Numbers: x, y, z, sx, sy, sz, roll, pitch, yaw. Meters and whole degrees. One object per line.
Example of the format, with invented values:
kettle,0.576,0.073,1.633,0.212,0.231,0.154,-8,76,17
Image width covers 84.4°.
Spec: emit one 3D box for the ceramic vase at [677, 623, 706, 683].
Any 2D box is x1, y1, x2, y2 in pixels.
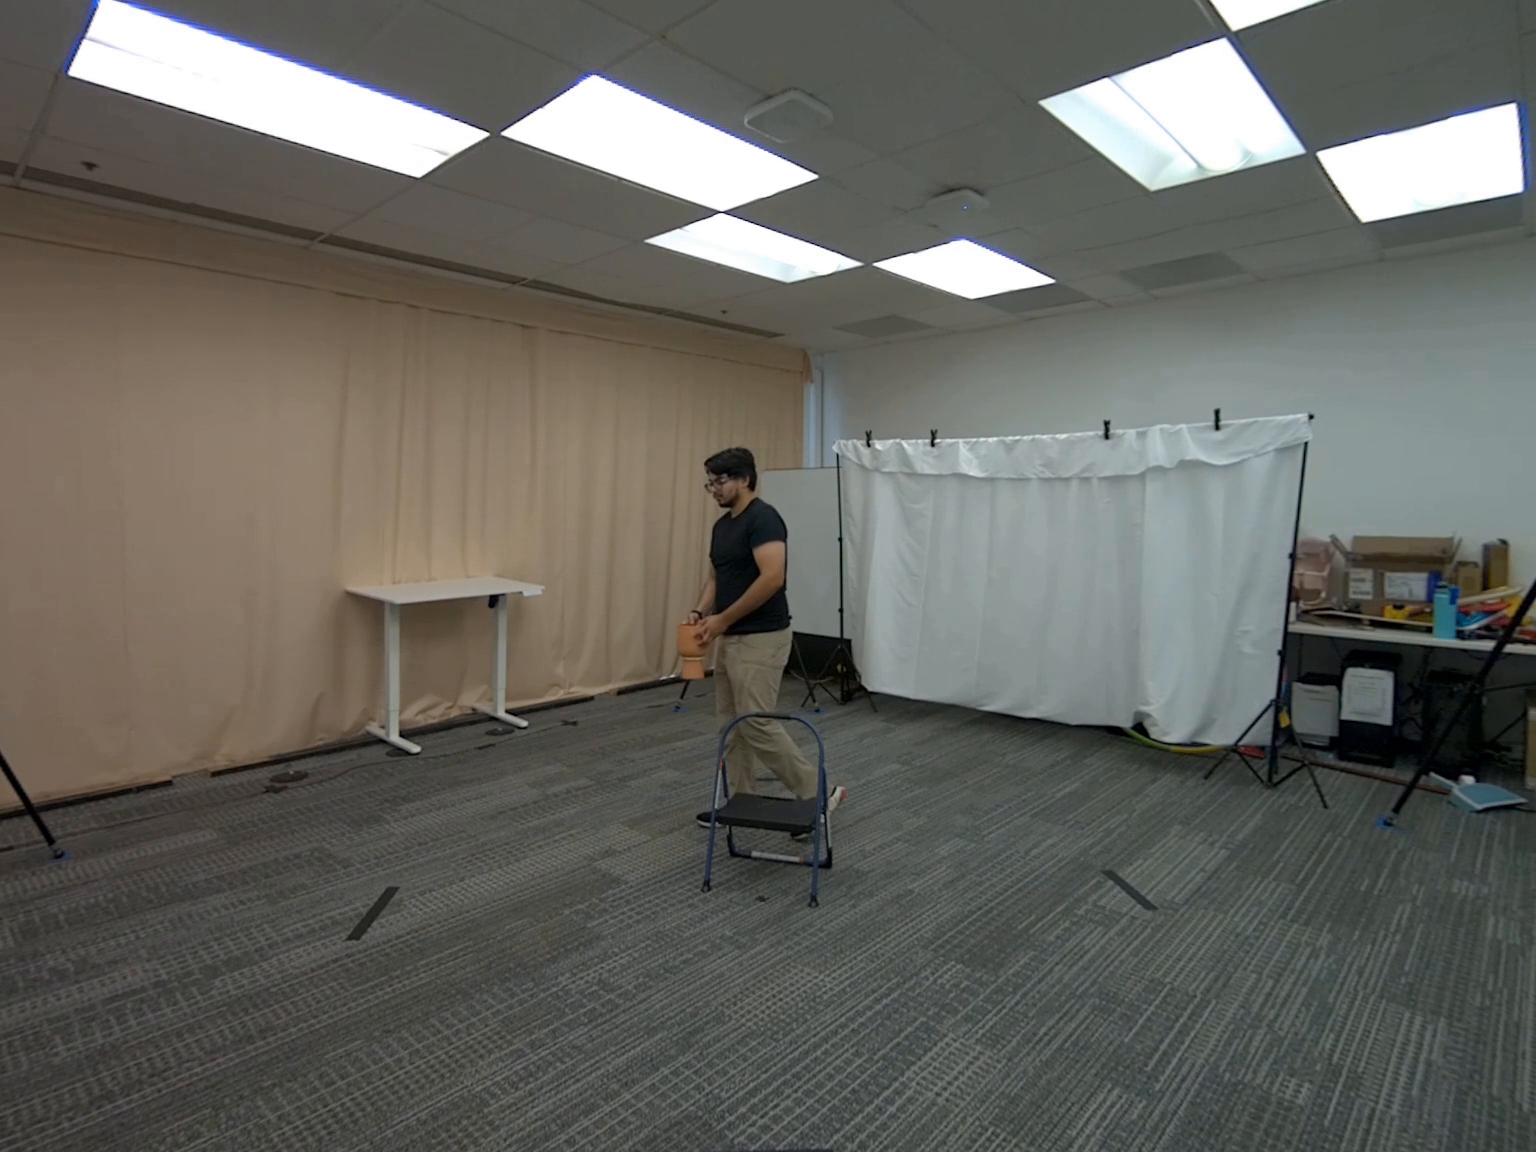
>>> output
ceramic vase,-0.302,0.317,3.500,0.135,0.220,0.158,0,0,1
